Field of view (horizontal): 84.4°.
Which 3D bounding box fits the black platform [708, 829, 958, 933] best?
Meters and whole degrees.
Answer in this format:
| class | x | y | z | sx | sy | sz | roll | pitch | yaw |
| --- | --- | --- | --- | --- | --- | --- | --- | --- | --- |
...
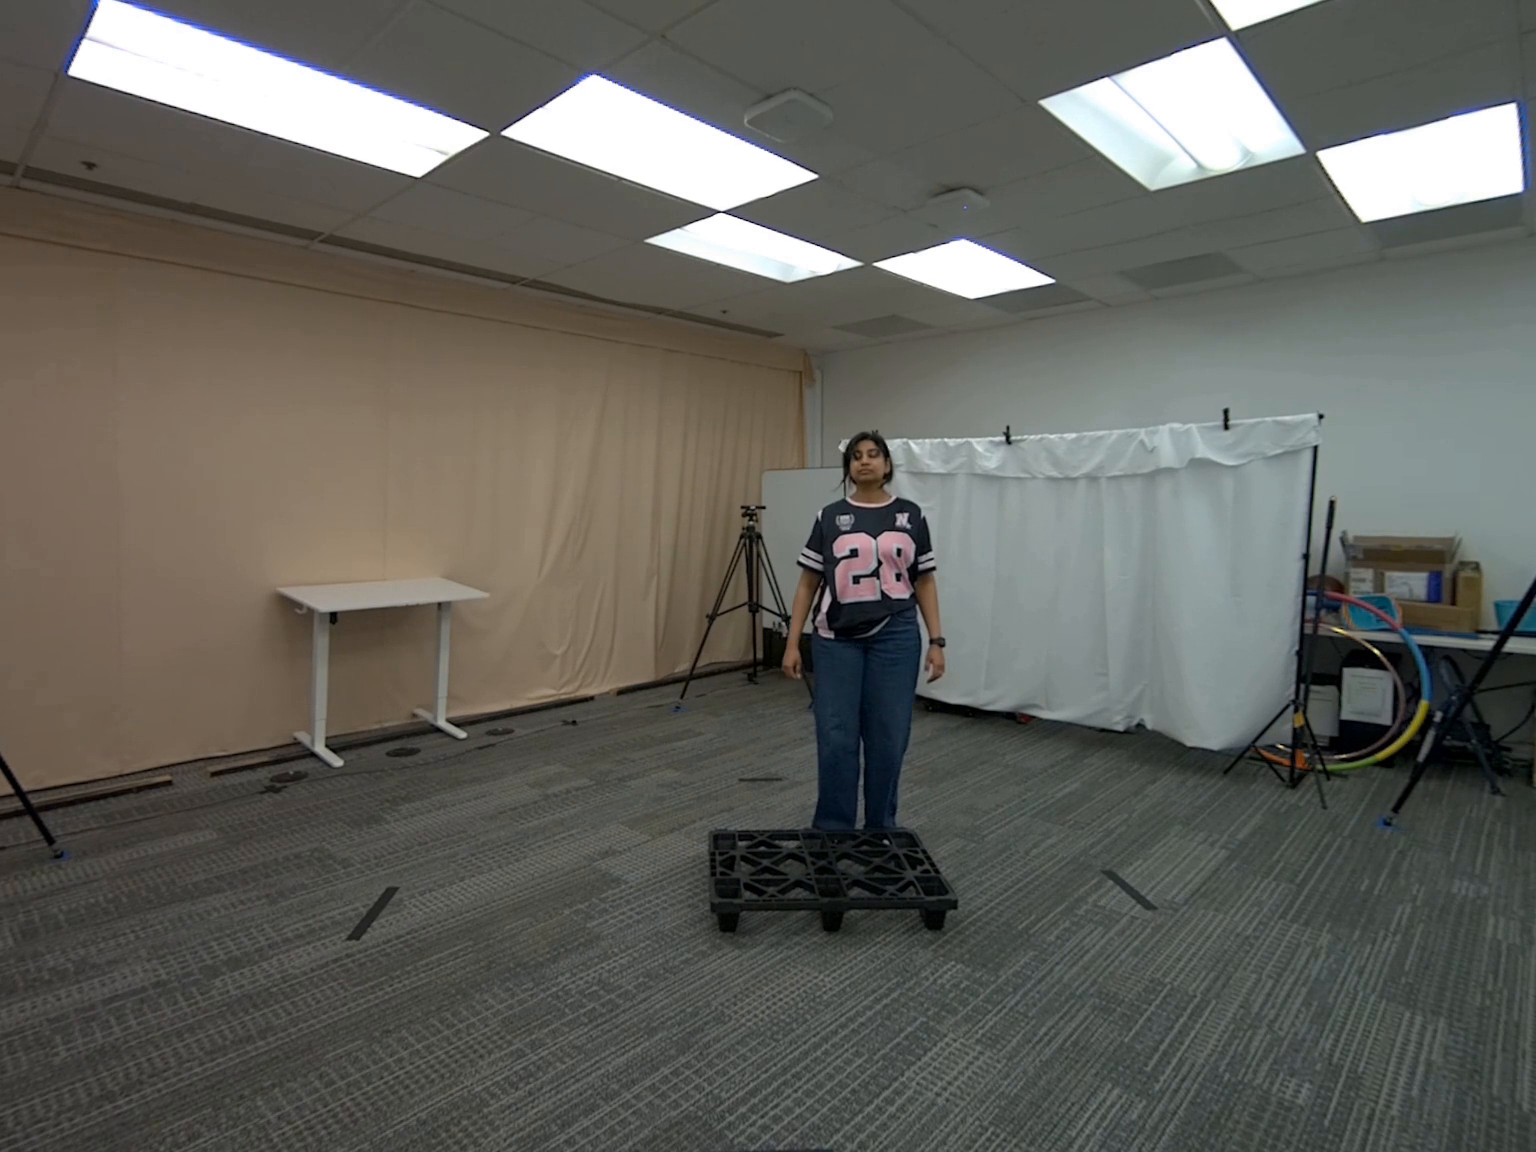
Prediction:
| class | x | y | z | sx | sy | sz | roll | pitch | yaw |
| --- | --- | --- | --- | --- | --- | --- | --- | --- | --- |
| black platform | 0.188 | 1.078 | 2.983 | 0.805 | 0.143 | 0.607 | 0 | 4 | -2 |
